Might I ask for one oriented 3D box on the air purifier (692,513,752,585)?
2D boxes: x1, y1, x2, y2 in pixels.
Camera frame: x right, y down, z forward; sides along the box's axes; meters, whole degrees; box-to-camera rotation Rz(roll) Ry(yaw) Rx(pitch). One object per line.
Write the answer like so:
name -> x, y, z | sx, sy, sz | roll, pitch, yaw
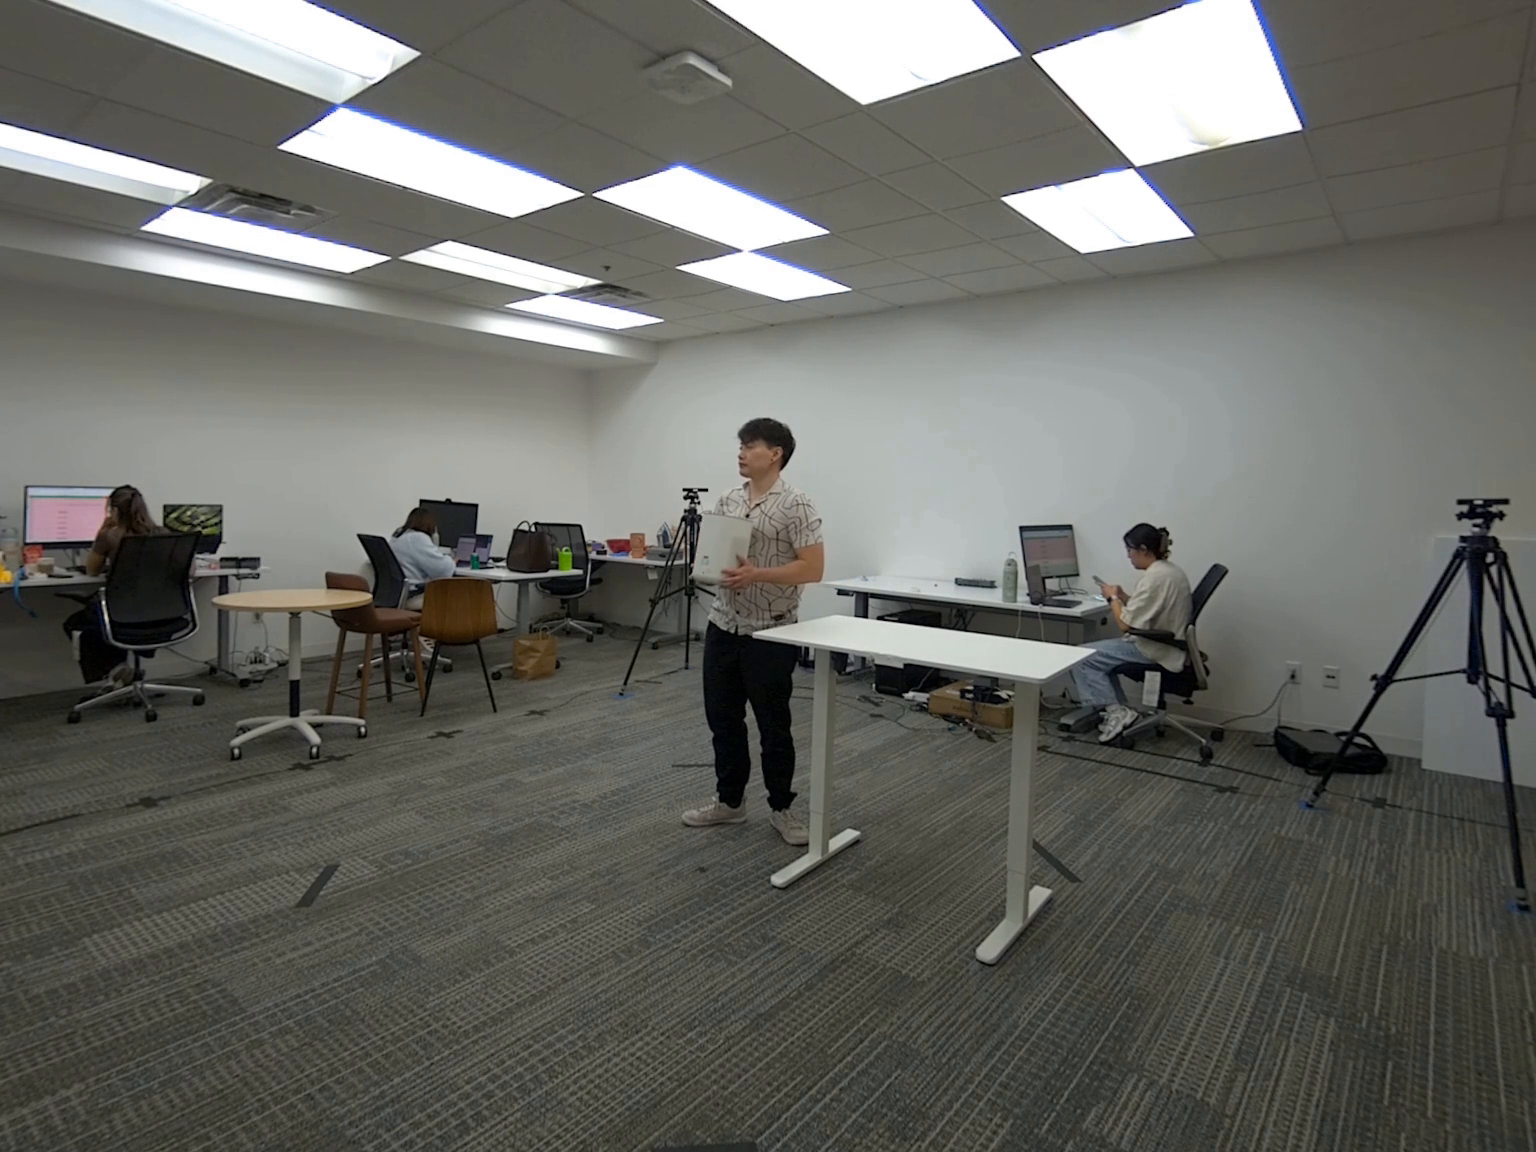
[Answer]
air purifier -> -0.185, -0.102, 3.323 | 0.177, 0.266, 0.165 | 8, -4, 41
